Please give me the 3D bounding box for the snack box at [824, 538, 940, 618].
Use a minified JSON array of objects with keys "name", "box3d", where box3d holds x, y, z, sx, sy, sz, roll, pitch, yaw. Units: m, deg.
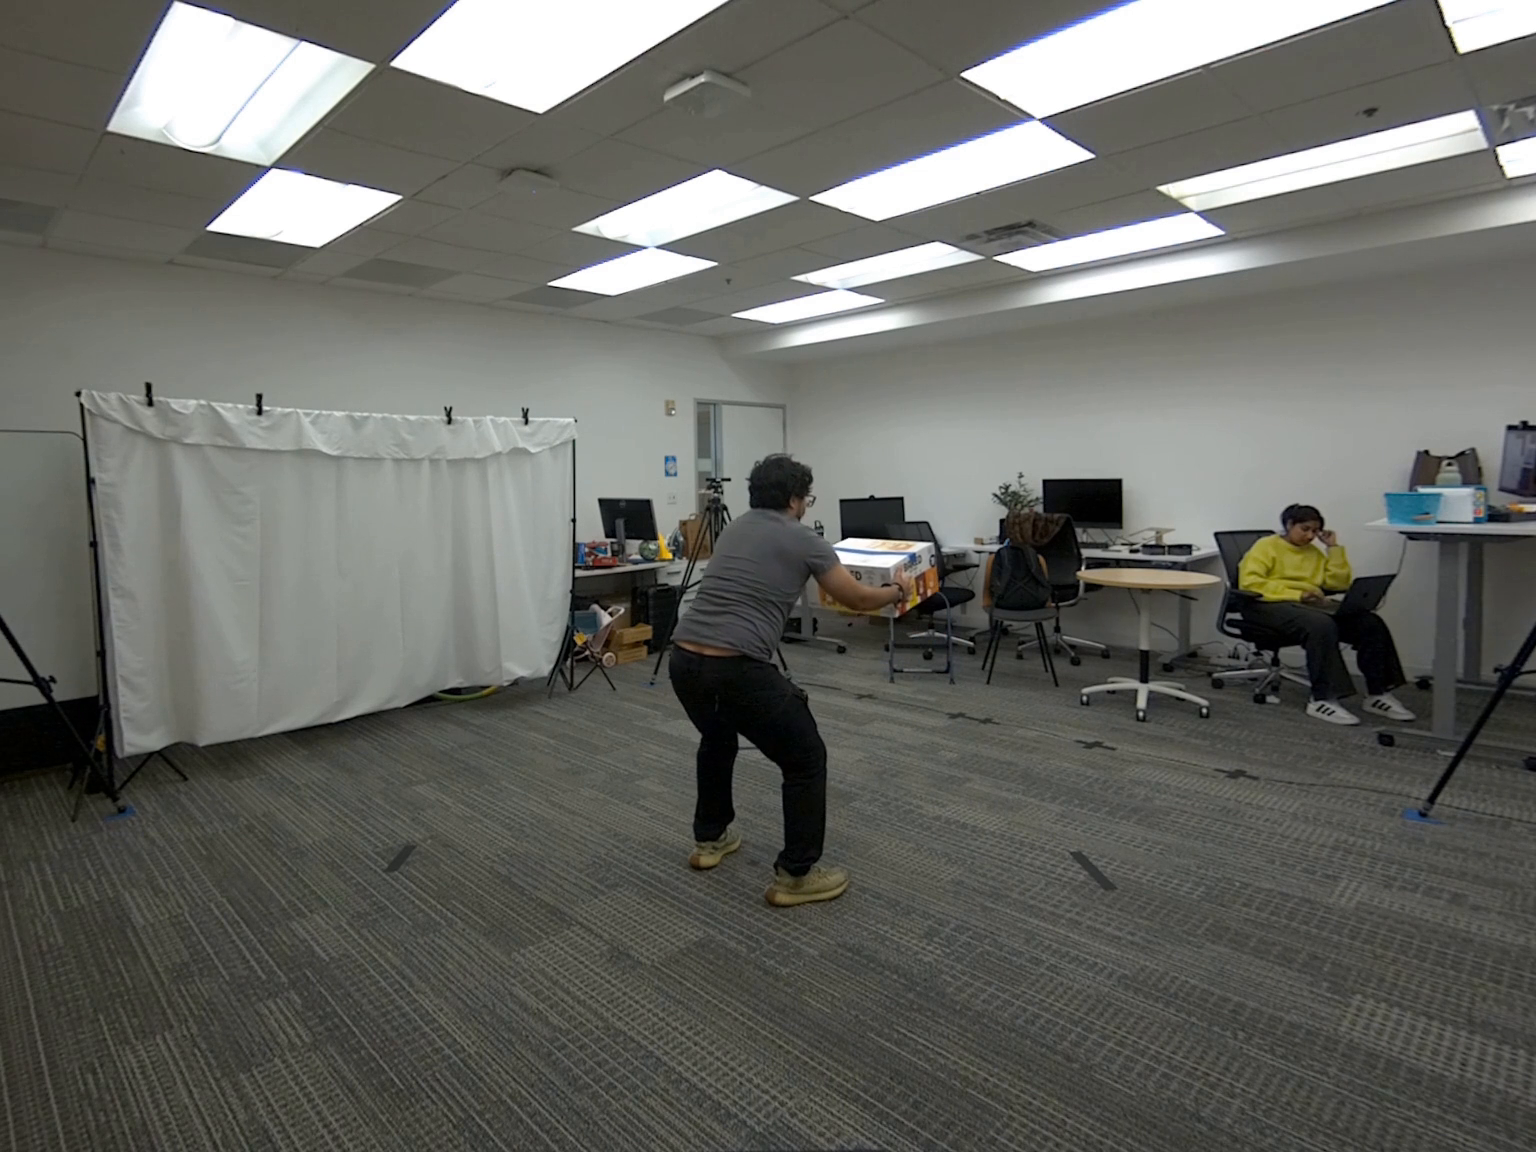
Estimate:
[{"name":"snack box","box3d":[0.414,0.005,3.441,0.418,0.203,0.334,5,19,40]}]
